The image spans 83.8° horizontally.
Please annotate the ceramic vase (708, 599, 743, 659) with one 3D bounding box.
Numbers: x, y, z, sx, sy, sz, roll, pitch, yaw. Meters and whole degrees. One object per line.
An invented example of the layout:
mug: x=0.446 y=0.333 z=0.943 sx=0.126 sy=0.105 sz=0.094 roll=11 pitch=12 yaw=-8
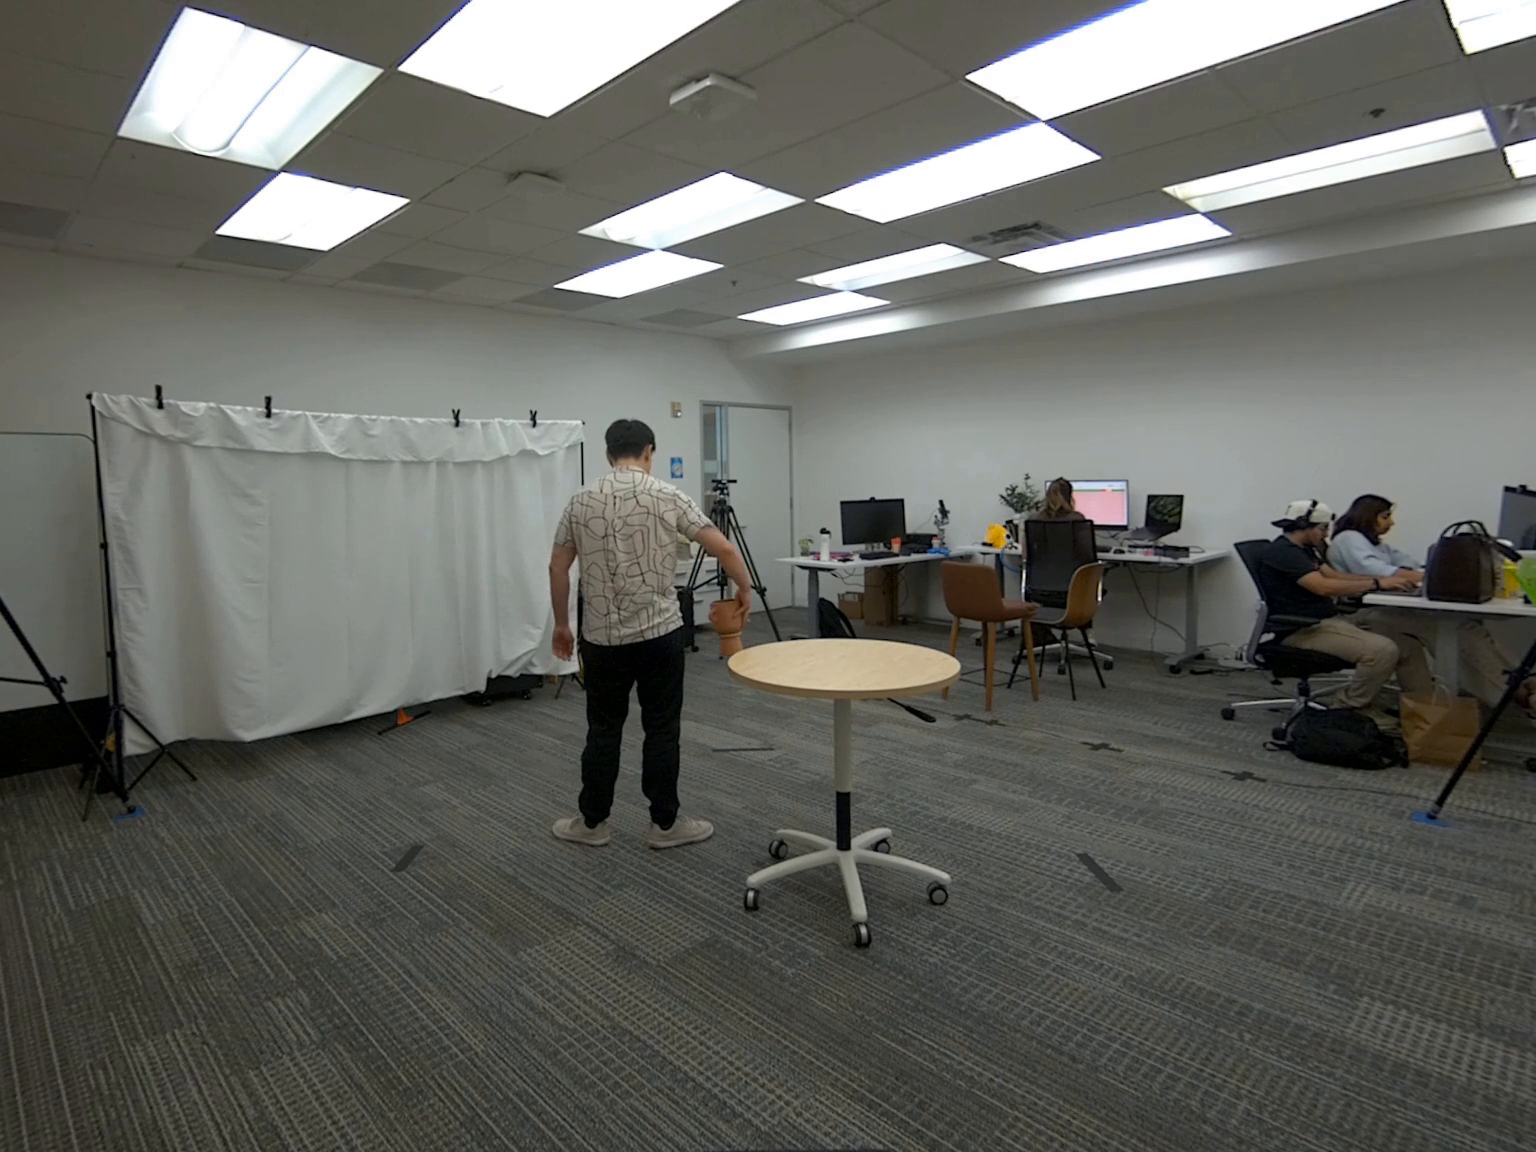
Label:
ceramic vase: x=-0.165 y=0.207 z=3.438 sx=0.158 sy=0.219 sz=0.135 roll=-6 pitch=2 yaw=-5
